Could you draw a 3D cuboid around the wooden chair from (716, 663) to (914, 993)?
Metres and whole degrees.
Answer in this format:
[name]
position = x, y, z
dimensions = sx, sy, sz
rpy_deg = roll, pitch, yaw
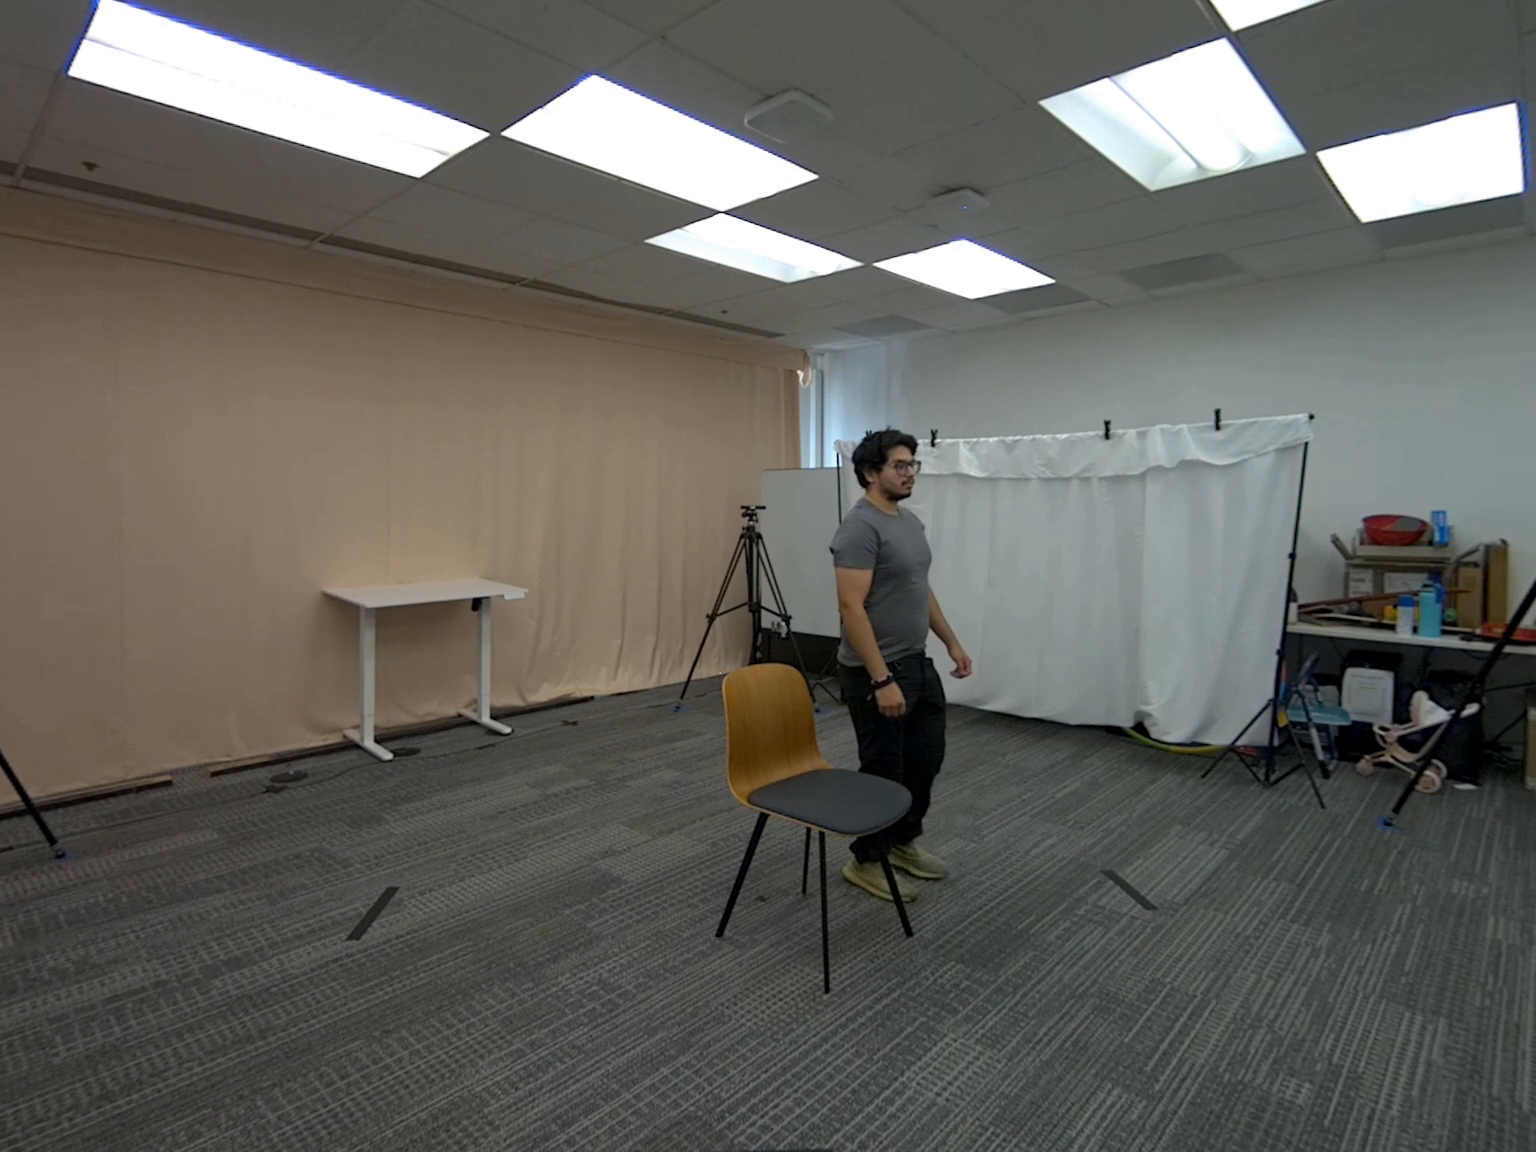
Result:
[wooden chair]
position = 0.158, 0.743, 2.680
dimensions = 0.539, 0.877, 0.463
rpy_deg = -3, 1, 44
